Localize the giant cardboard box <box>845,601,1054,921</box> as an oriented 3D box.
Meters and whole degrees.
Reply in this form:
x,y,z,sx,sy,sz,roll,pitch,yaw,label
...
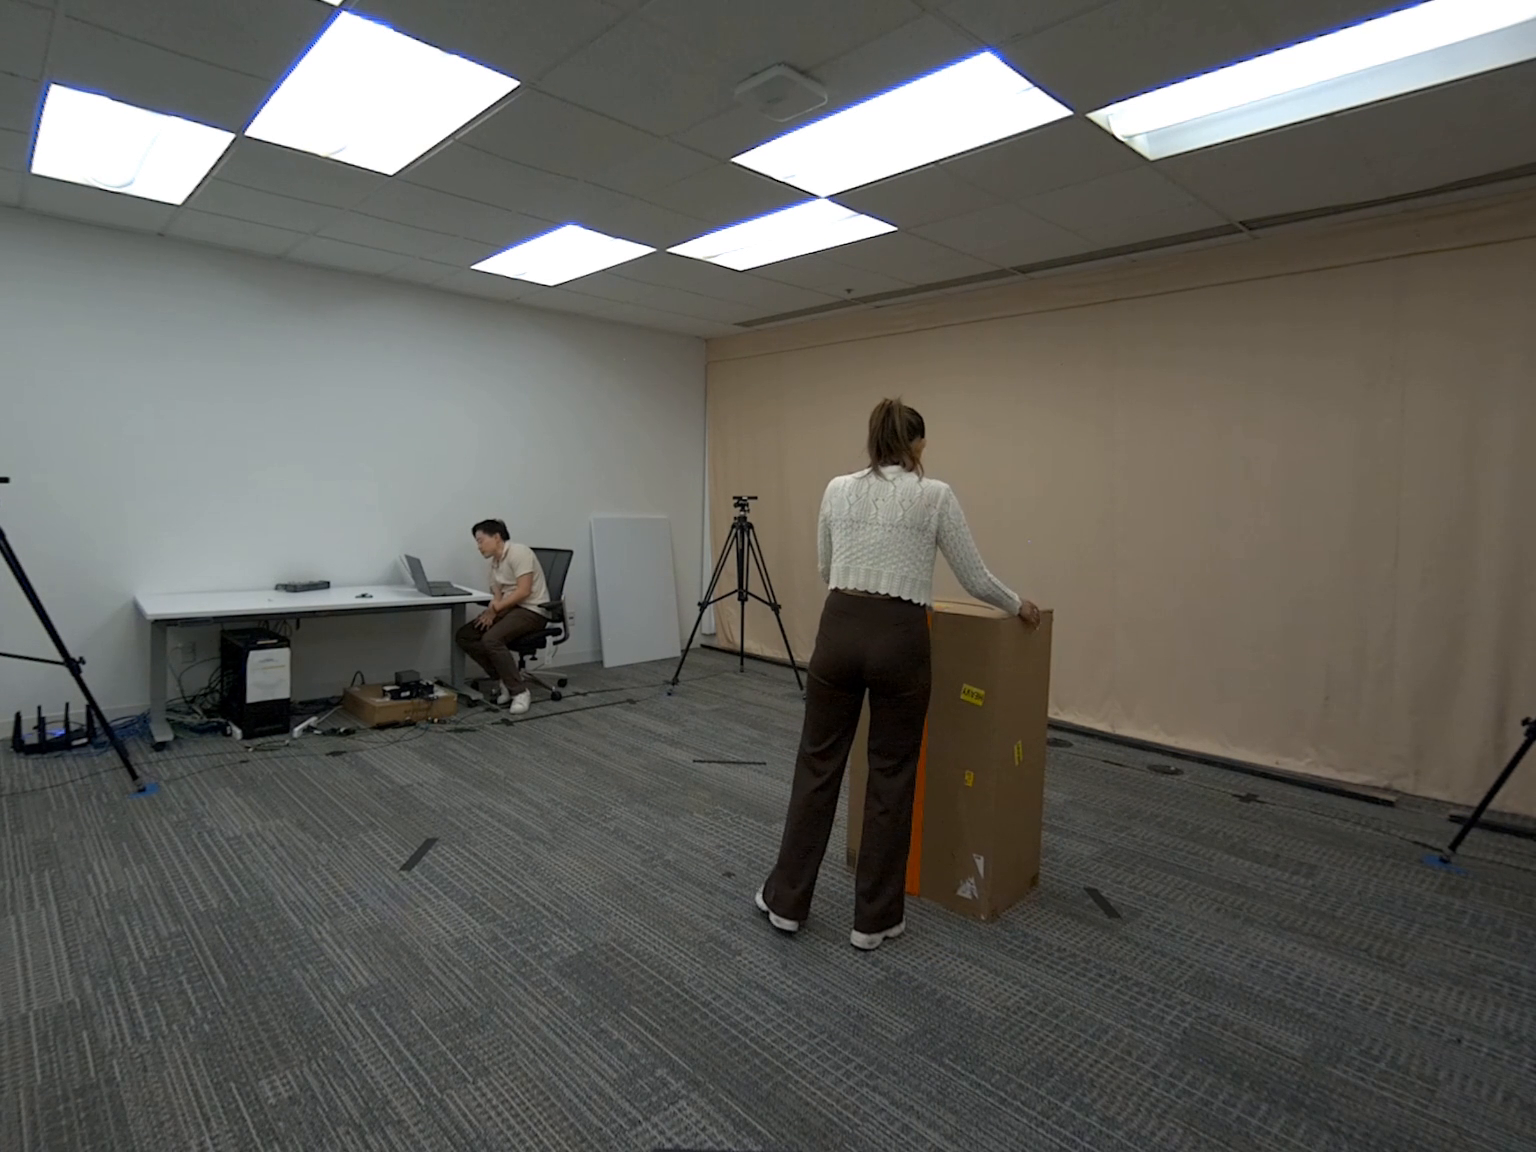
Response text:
x,y,z,sx,sy,sz,roll,pitch,yaw,label
0.659,0.612,3.108,0.592,1.023,0.416,5,5,41,giant cardboard box
